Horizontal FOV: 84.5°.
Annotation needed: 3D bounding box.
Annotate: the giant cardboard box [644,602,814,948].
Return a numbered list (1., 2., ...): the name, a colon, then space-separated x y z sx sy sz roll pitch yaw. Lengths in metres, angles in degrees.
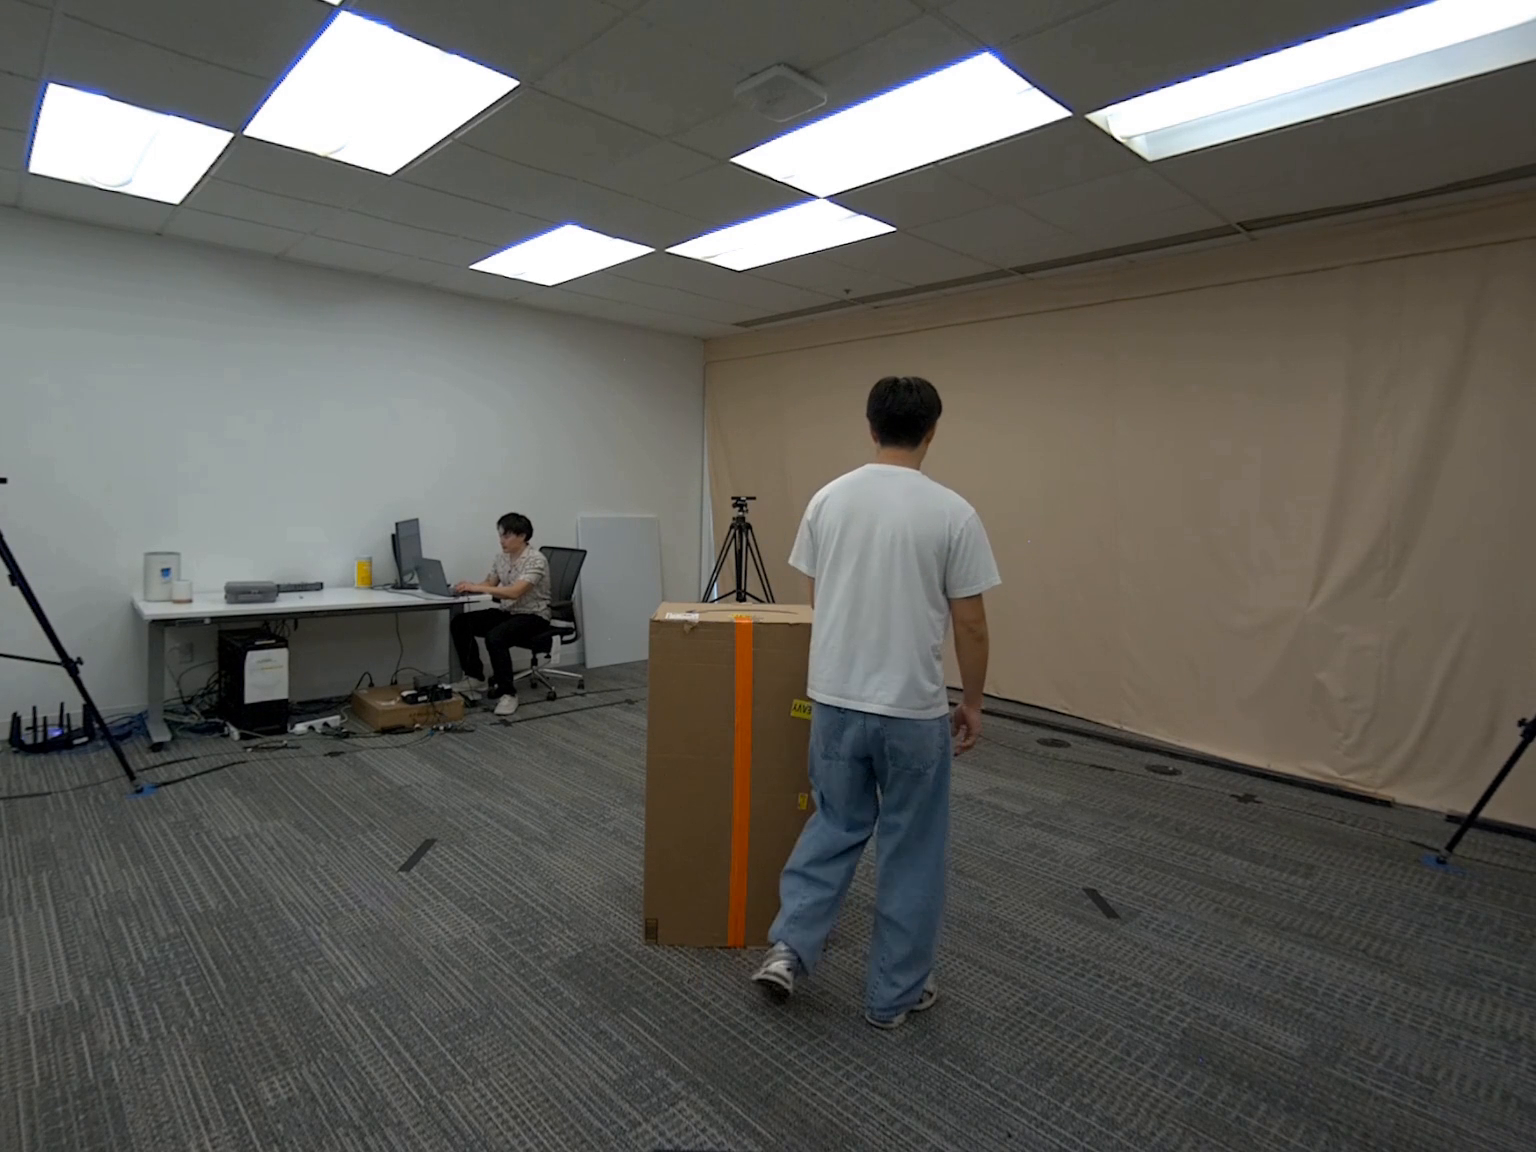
1. giant cardboard box: -0.105 0.628 2.785 0.577 1.023 0.427 2 3 0
